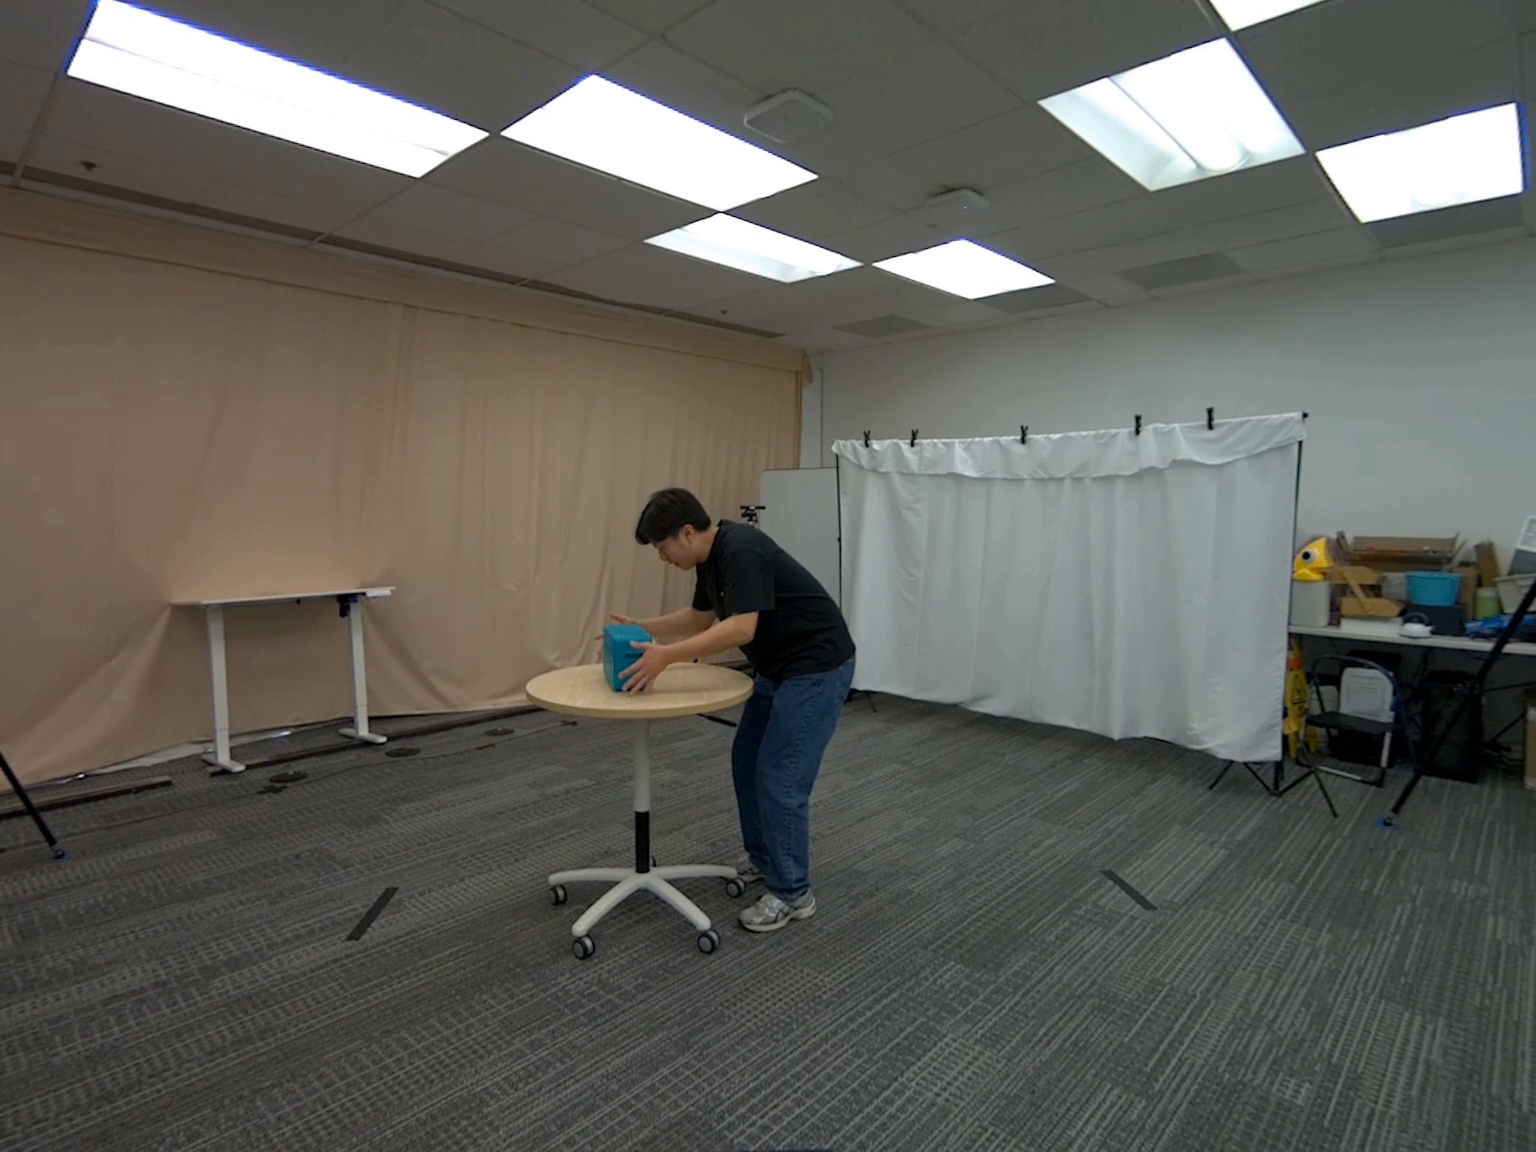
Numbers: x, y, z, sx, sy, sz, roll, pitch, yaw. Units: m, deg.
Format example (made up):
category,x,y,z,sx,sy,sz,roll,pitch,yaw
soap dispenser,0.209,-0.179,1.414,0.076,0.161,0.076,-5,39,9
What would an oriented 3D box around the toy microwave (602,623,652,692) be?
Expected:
category,x,y,z,sx,sy,sz,roll,pitch,yaw
toy microwave,-0.469,0.275,2.841,0.150,0.184,0.291,1,4,-17
